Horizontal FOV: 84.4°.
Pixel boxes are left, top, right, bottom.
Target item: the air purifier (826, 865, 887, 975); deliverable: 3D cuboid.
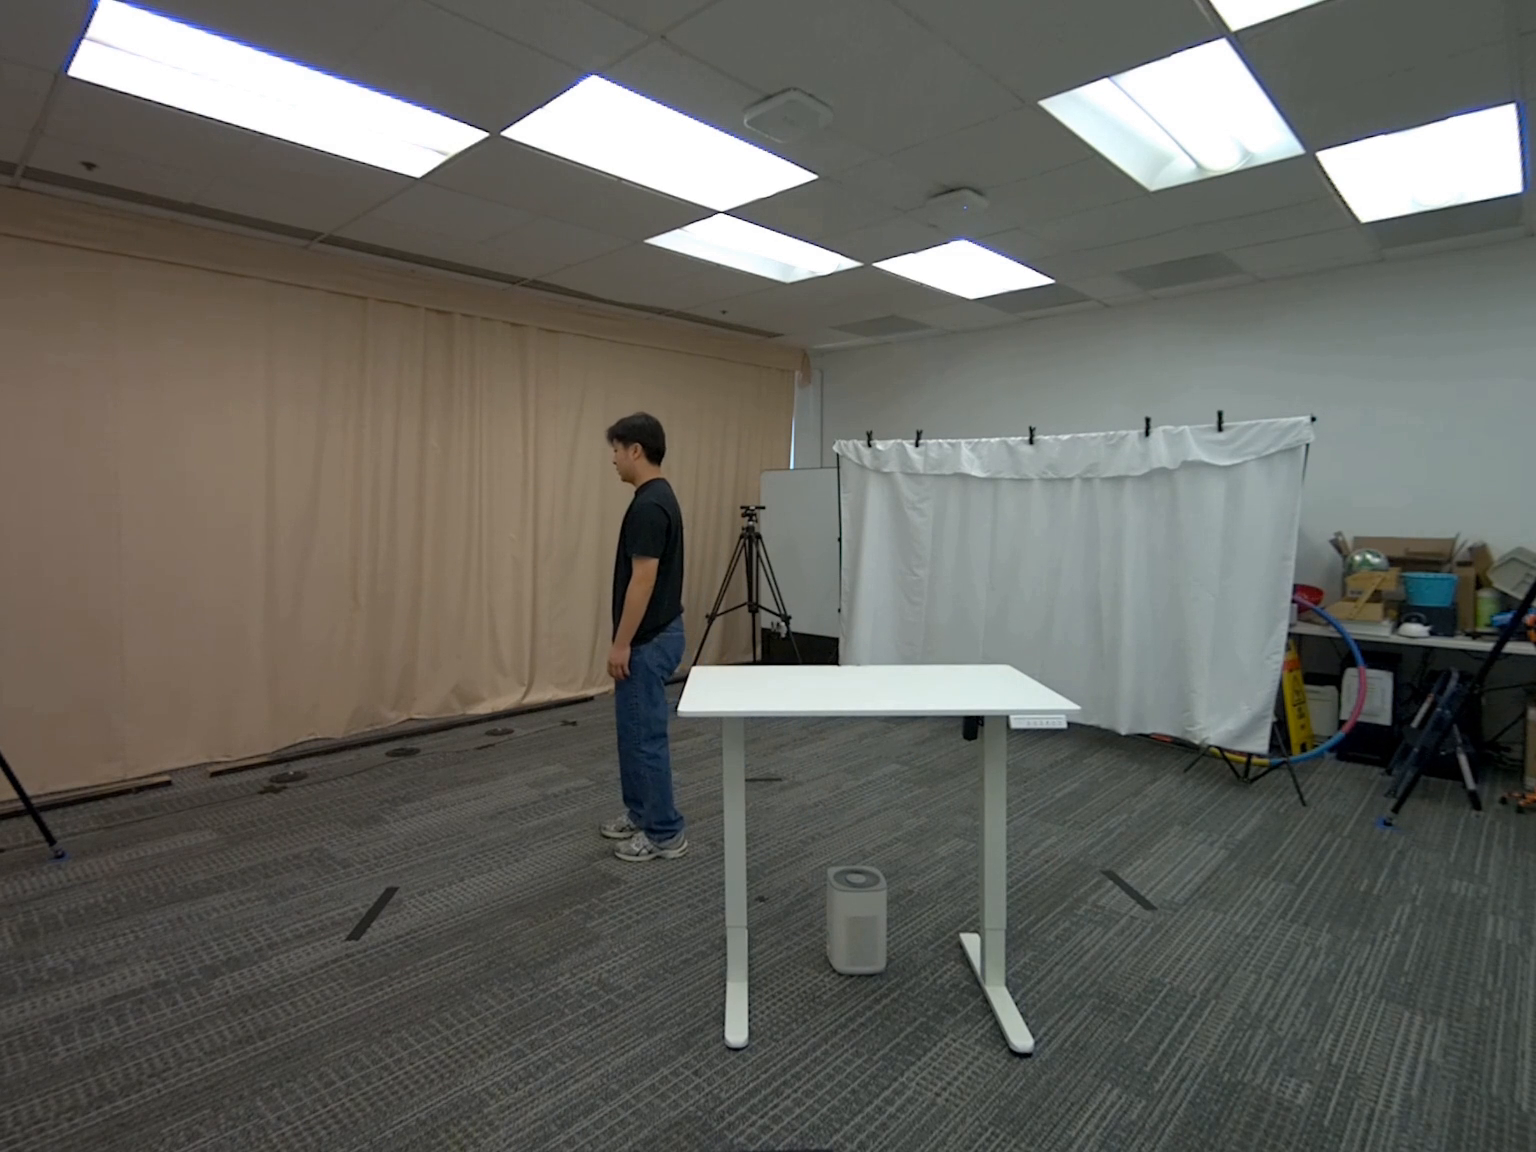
[{"bbox_3d":[0.270,1.042,2.562,0.171,0.265,0.172,1,3,-5],"label":"air purifier"}]
